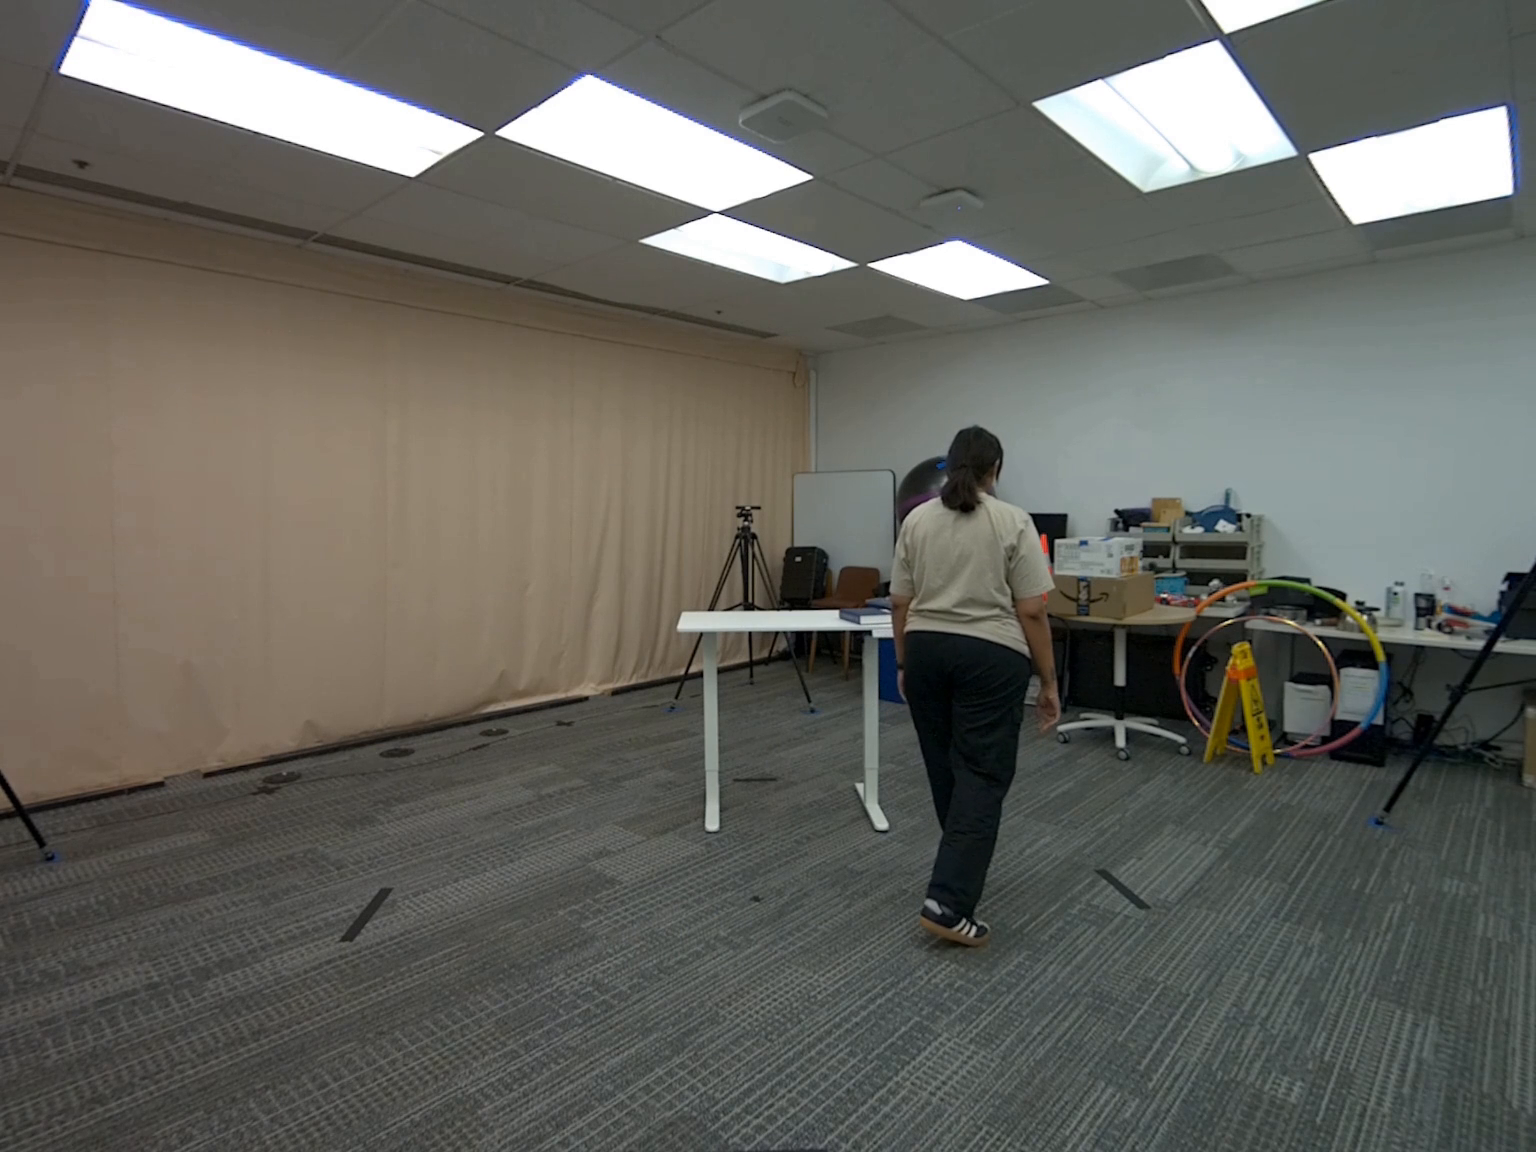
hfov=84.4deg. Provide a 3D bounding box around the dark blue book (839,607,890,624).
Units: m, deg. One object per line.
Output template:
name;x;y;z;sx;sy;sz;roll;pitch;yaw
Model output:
dark blue book;0.437;0.177;3.719;0.161;0.045;0.249;-1;3;-15
